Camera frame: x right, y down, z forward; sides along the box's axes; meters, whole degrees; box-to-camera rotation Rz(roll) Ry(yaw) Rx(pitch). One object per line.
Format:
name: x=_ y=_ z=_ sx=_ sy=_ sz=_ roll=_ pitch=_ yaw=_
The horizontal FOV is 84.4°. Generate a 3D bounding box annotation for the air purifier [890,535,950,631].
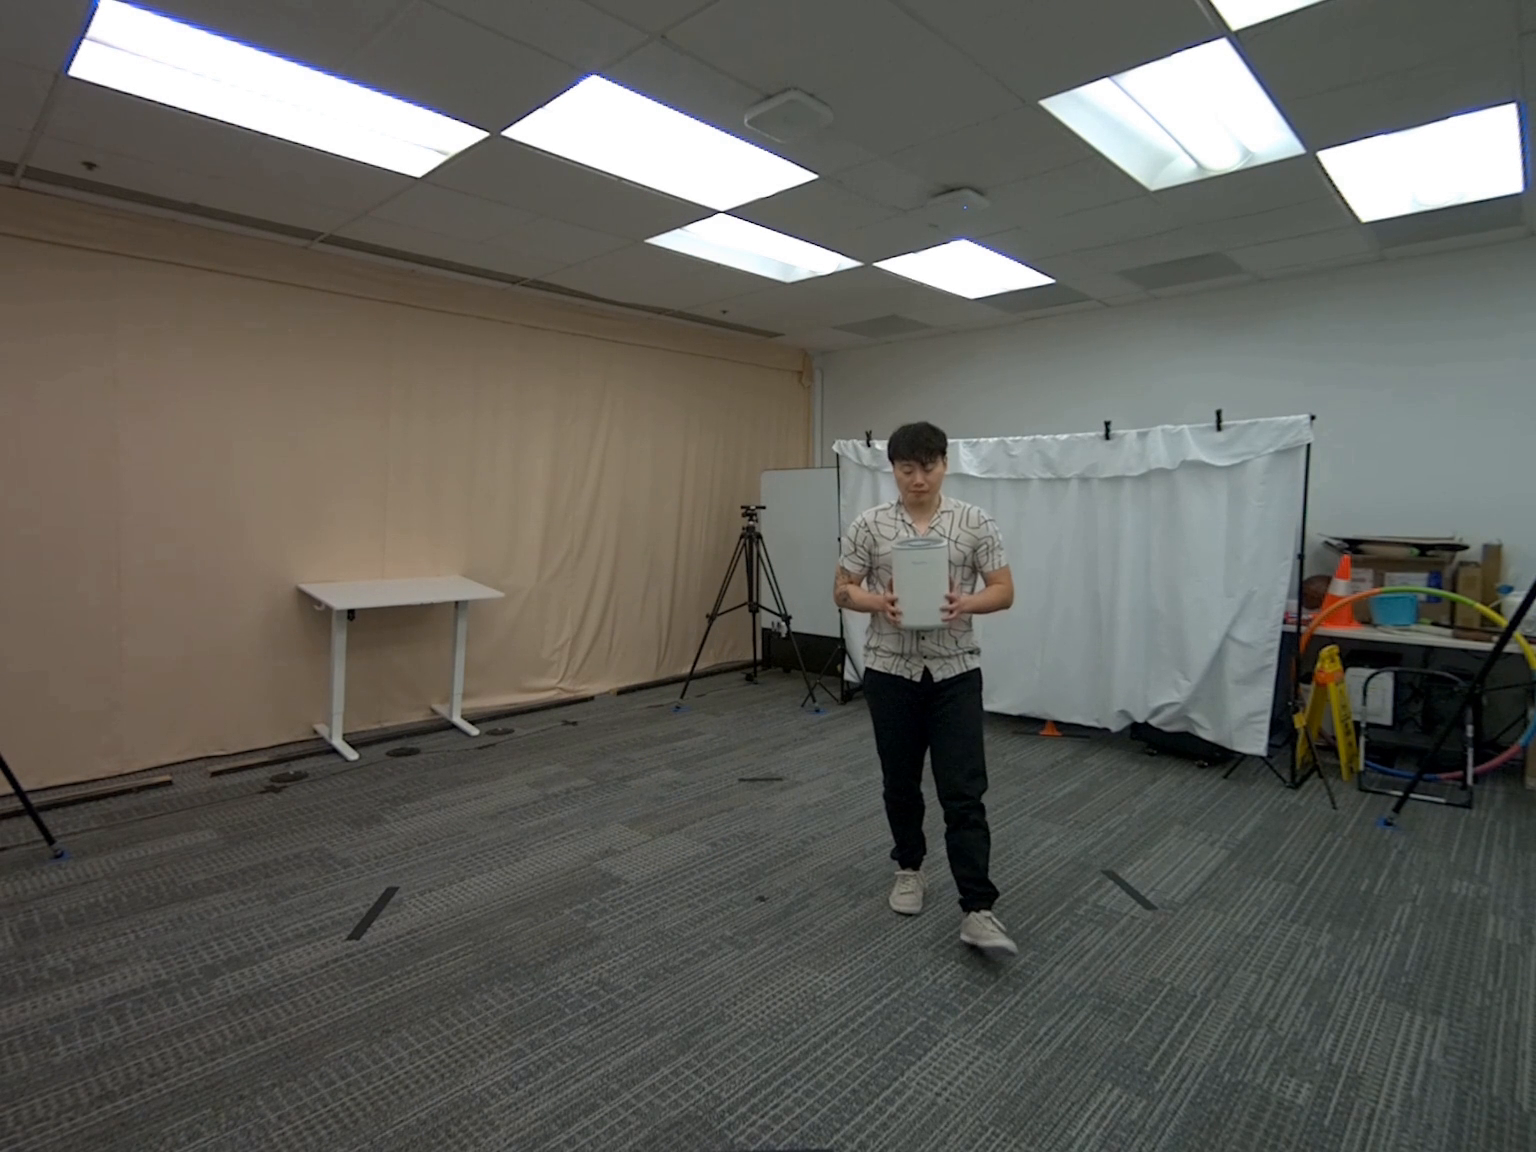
air purifier: x=0.481 y=0.024 z=2.649 sx=0.173 sy=0.264 sz=0.170 roll=-3 pitch=9 yaw=9
